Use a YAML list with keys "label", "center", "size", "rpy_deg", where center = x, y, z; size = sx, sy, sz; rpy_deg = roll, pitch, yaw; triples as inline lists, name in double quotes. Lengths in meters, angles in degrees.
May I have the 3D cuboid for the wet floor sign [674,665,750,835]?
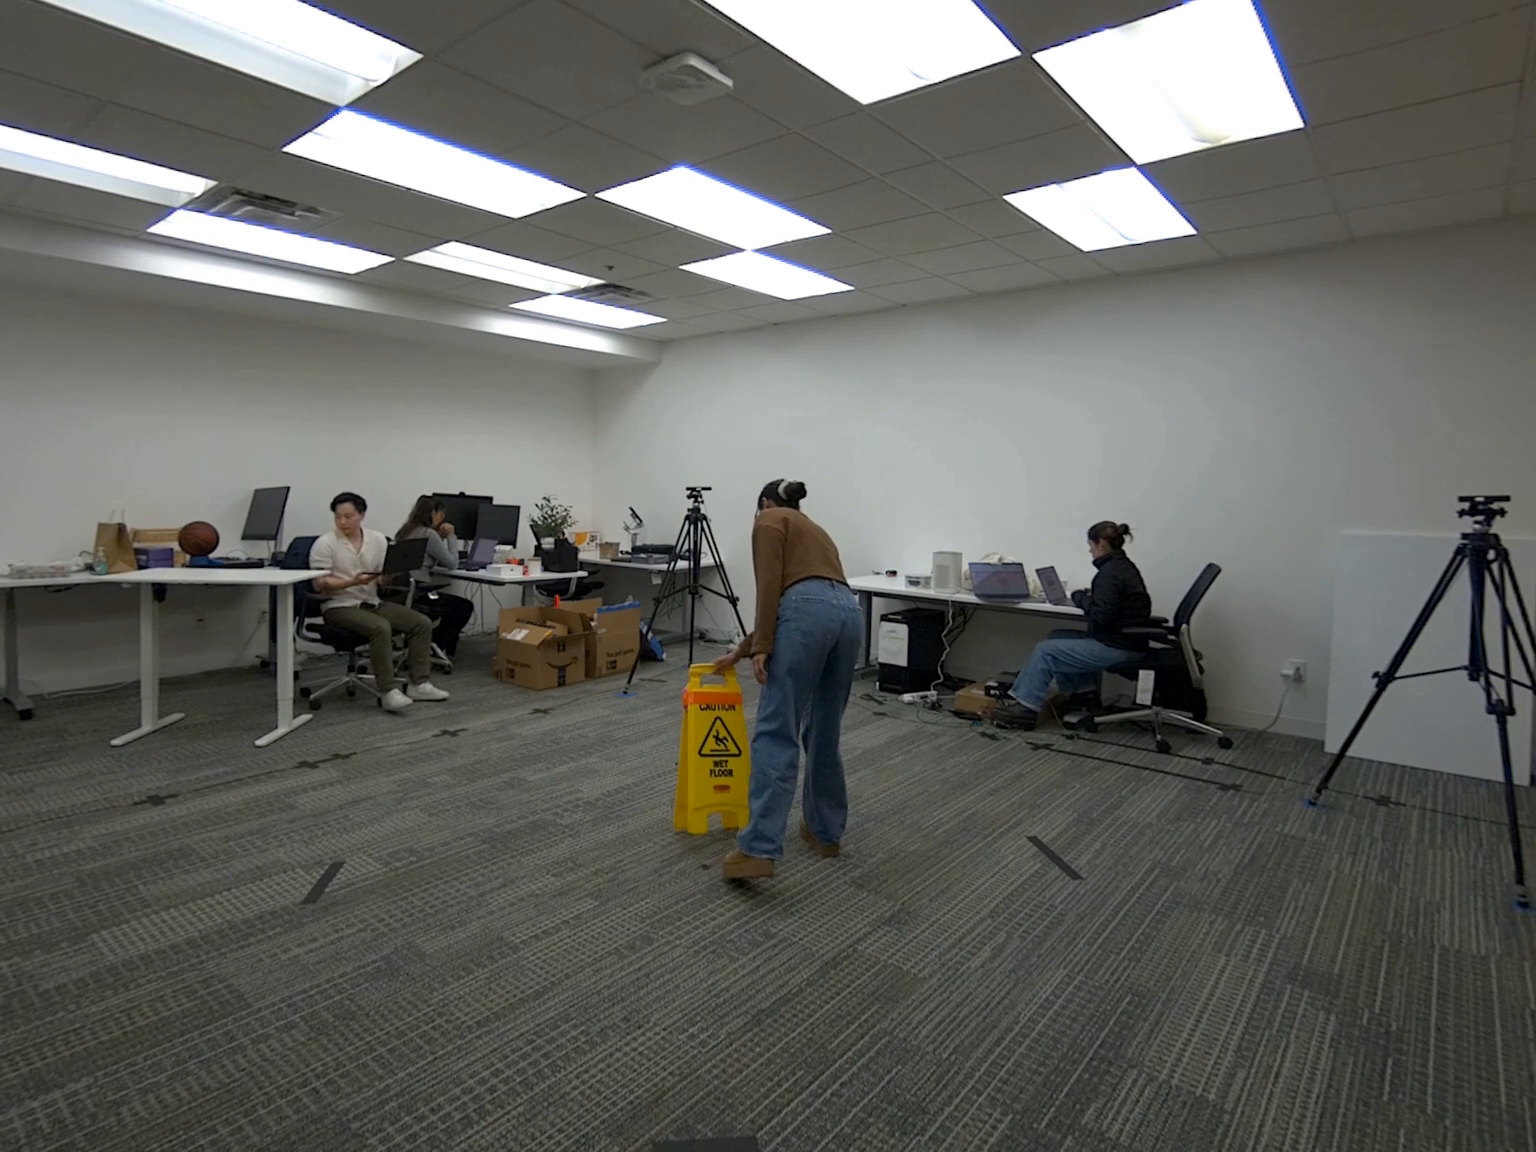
- label: "wet floor sign"
  center: [-0.223, 0.684, 3.435]
  size: [0.277, 0.656, 0.291]
  rpy_deg: [1, -15, -18]
